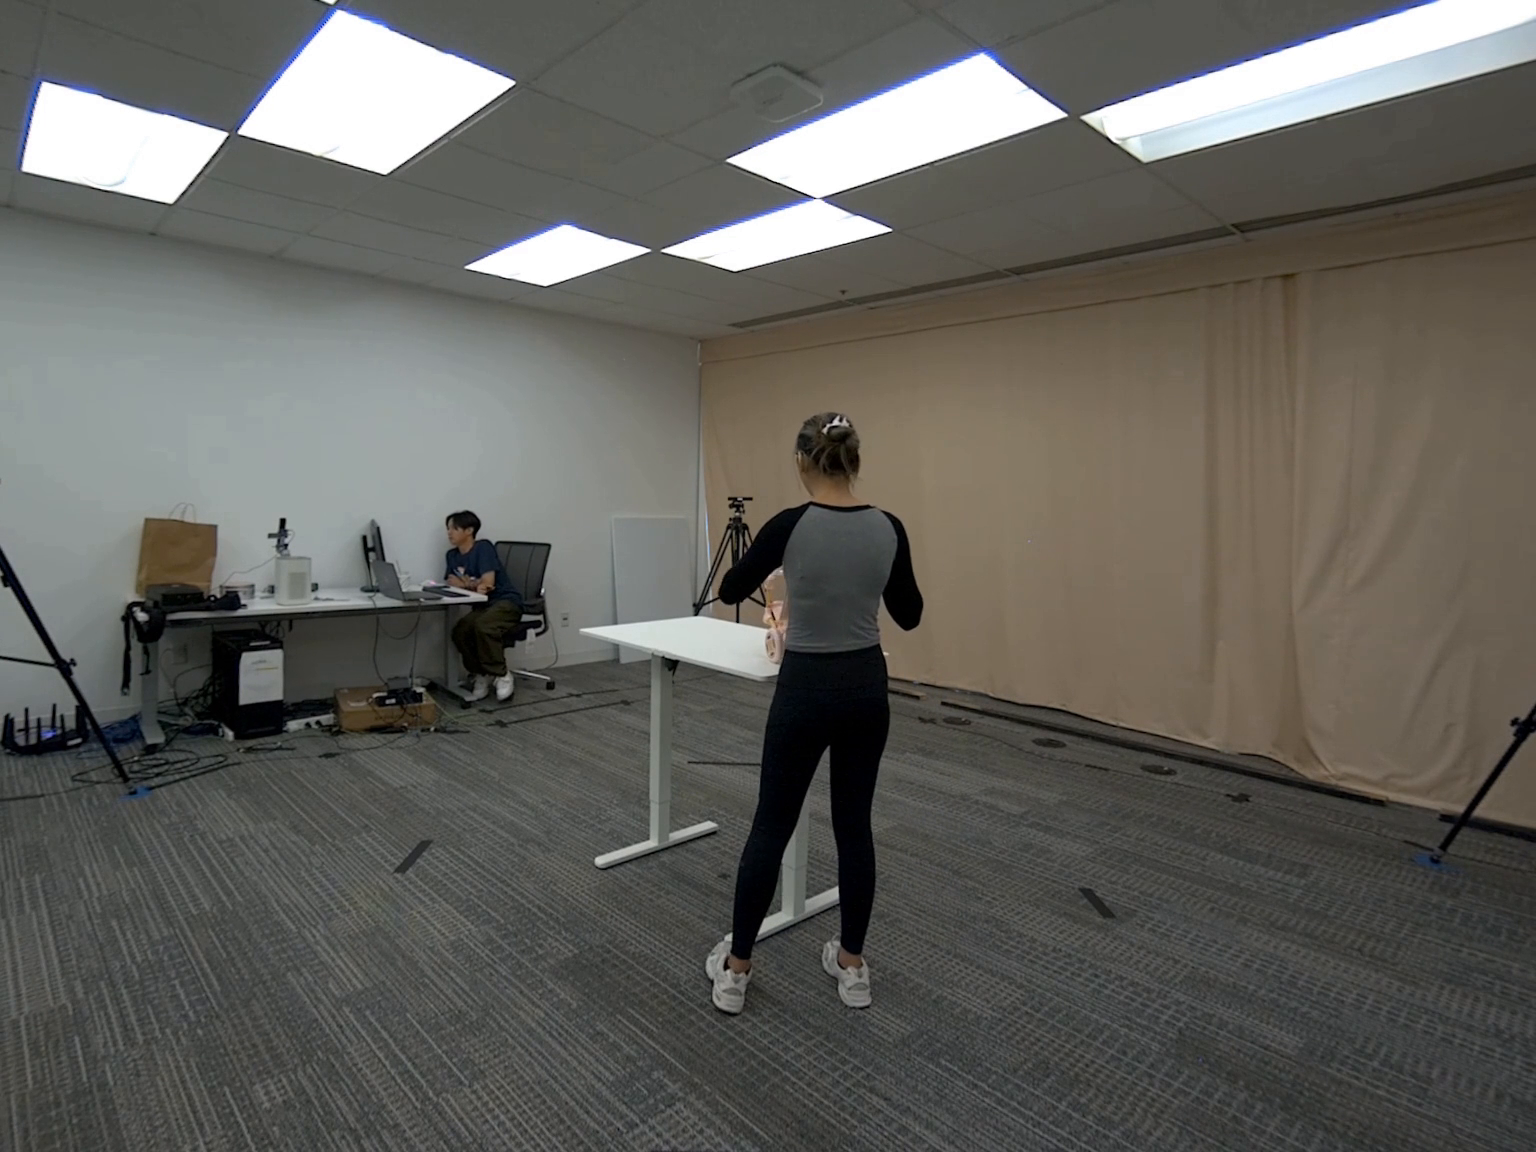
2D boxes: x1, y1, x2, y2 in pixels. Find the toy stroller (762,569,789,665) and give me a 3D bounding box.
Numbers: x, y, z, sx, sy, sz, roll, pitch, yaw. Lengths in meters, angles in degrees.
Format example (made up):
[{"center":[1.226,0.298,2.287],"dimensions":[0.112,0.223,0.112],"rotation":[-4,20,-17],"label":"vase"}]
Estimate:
[{"center":[0.118,0.047,2.721],"dimensions":[0.278,0.528,0.349],"rotation":[1,20,-14],"label":"toy stroller"}]
